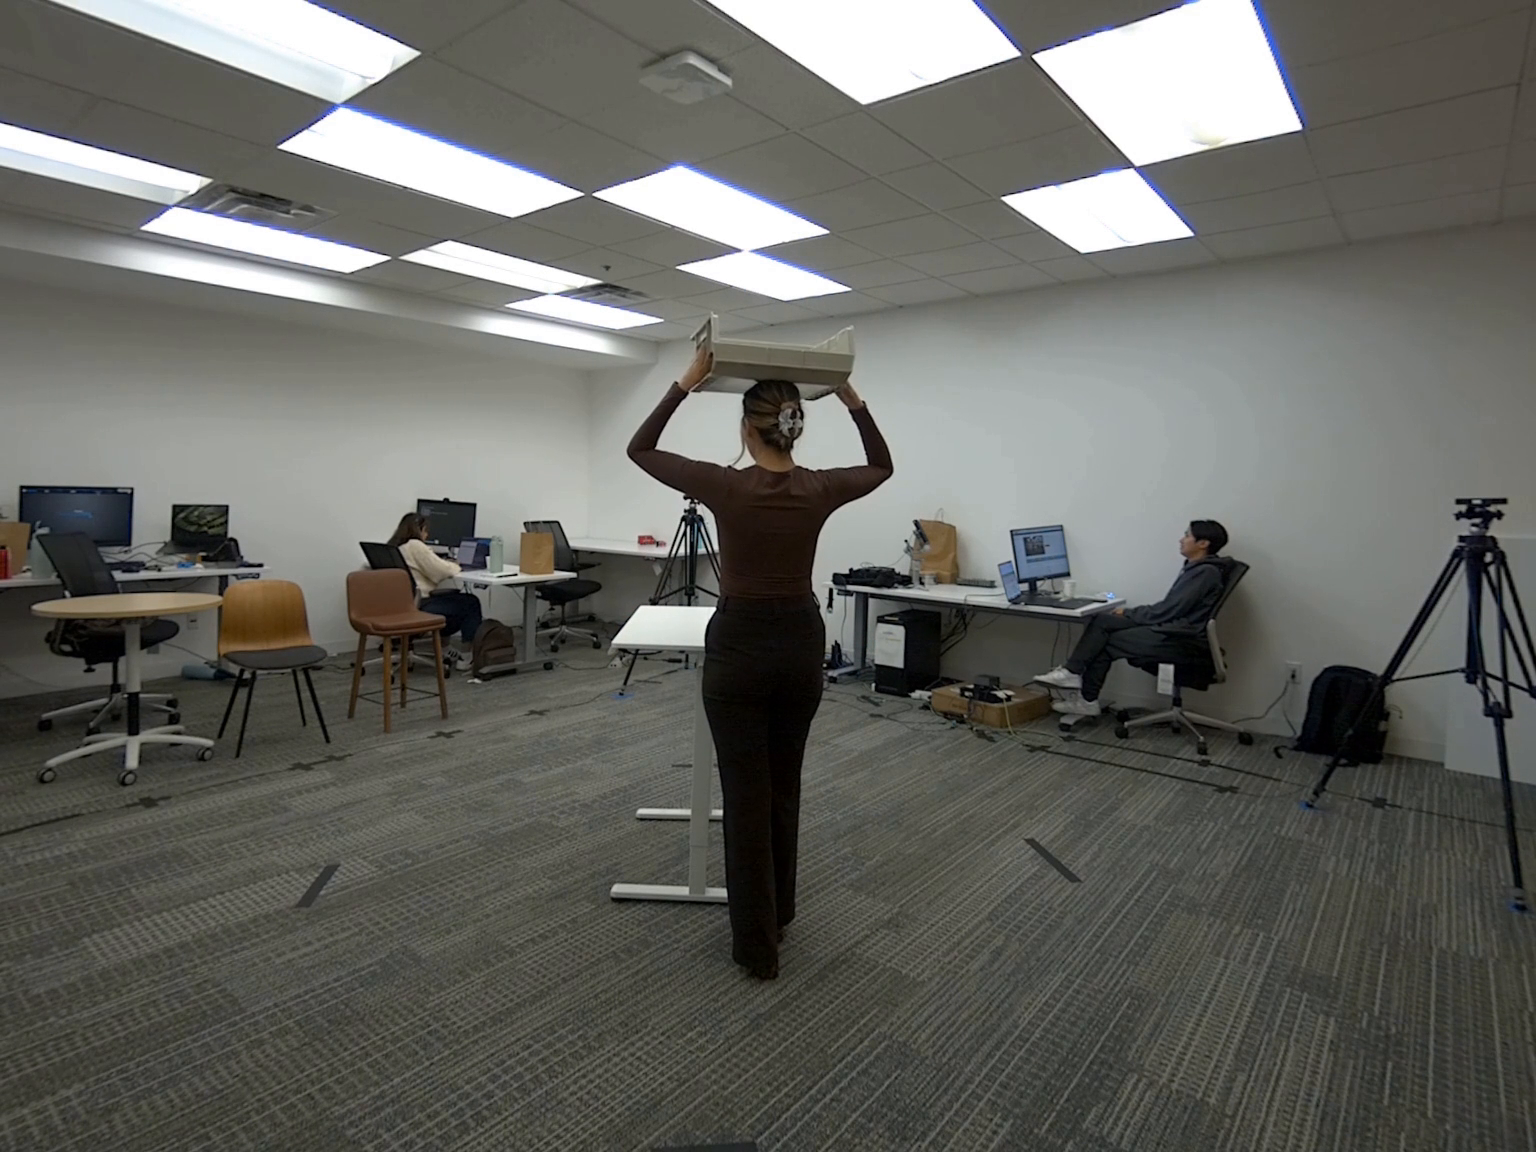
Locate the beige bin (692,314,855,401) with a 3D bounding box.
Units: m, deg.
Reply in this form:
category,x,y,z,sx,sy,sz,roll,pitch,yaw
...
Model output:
category,x,y,z,sx,sy,sz,roll,pitch,yaw
beige bin,-0.009,-0.664,2.565,0.417,0.189,0.383,3,2,-12
